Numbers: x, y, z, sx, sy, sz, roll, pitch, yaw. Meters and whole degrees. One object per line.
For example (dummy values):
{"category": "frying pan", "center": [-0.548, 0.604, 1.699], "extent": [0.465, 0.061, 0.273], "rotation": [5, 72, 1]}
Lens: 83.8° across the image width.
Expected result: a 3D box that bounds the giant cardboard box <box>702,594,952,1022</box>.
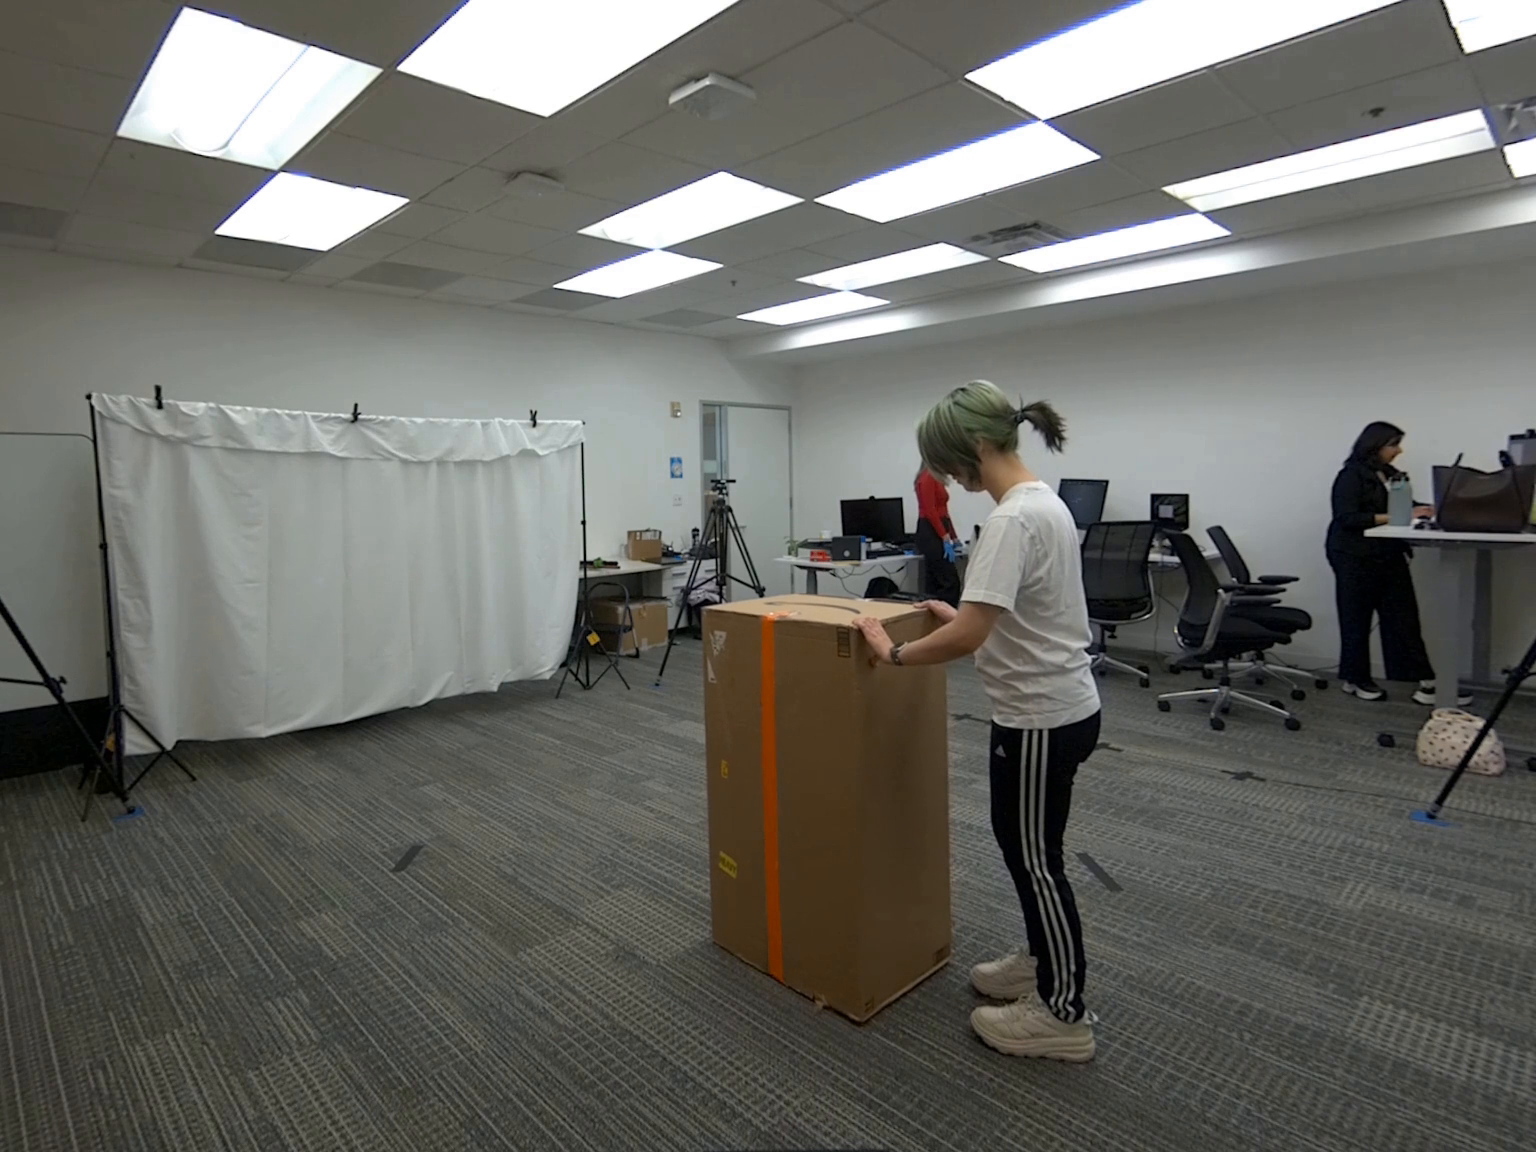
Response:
{"category": "giant cardboard box", "center": [0.164, 0.601, 2.495], "extent": [0.435, 1.025, 0.601], "rotation": [-4, 4, -45]}
